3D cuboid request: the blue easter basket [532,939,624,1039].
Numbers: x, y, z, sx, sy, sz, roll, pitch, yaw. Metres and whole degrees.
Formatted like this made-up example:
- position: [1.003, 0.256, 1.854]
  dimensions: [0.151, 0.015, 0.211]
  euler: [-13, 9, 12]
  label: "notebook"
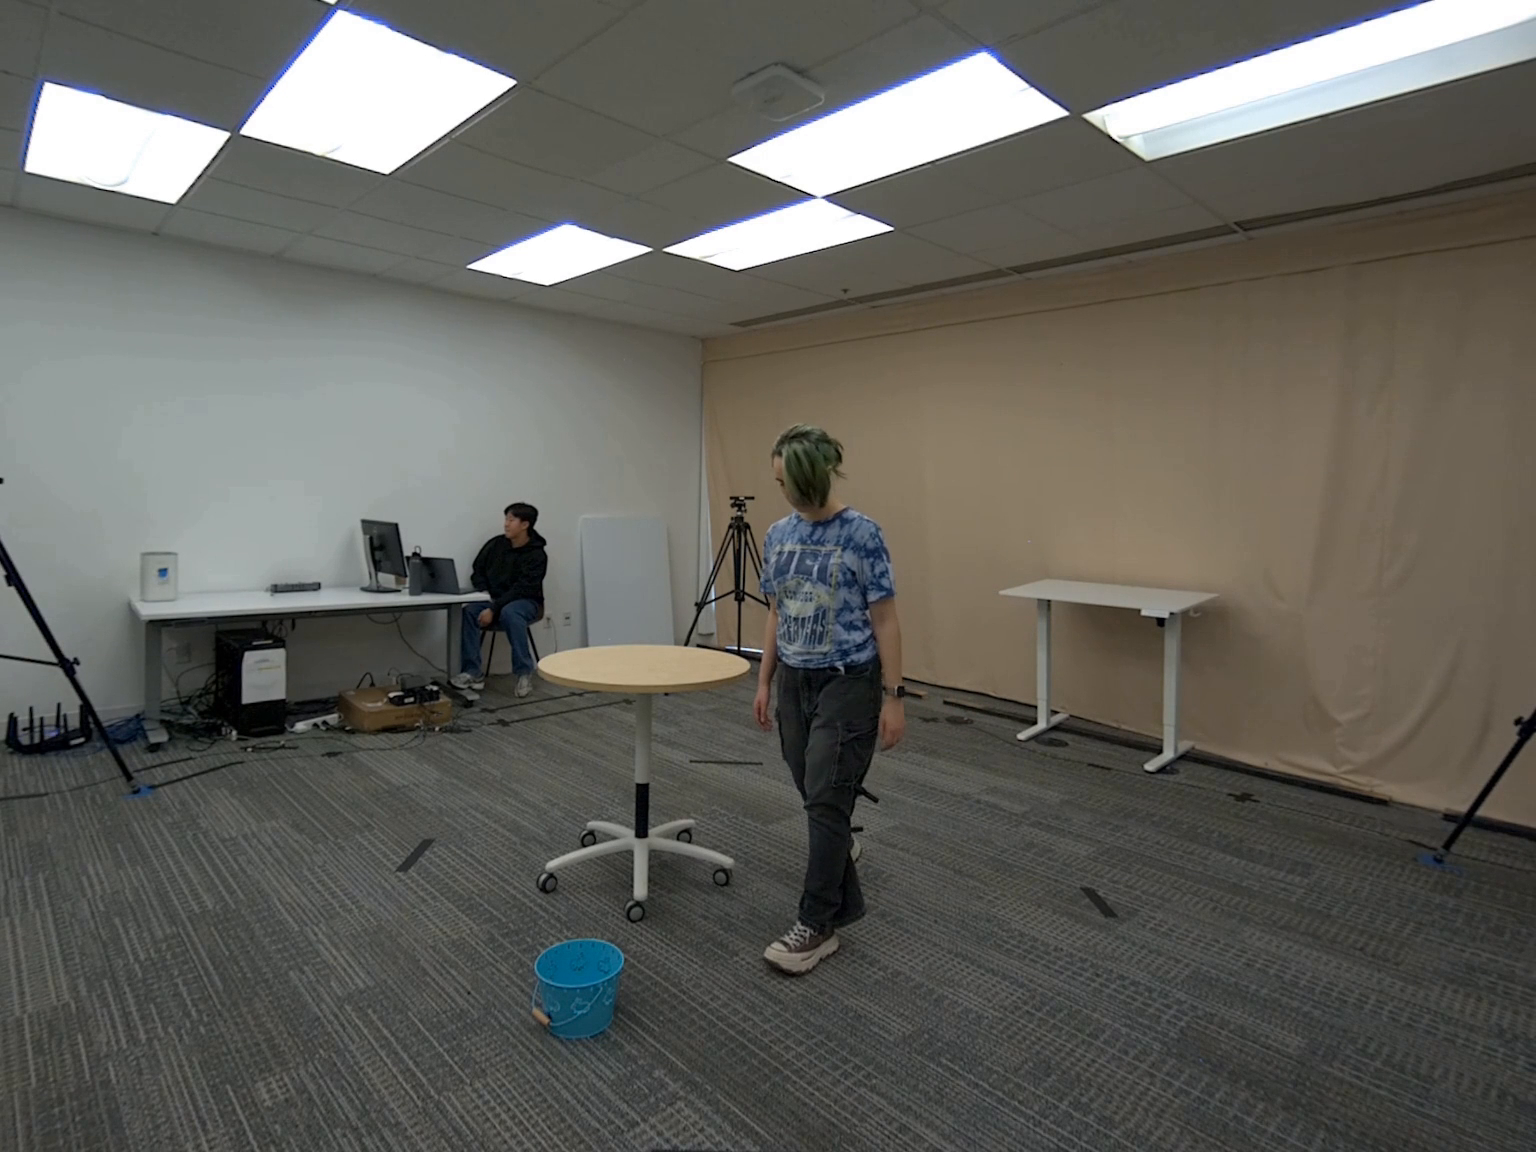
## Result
- position: [-0.512, 1.100, 2.230]
  dimensions: [0.243, 0.155, 0.244]
  euler: [1, 4, -1]
  label: "blue easter basket"
